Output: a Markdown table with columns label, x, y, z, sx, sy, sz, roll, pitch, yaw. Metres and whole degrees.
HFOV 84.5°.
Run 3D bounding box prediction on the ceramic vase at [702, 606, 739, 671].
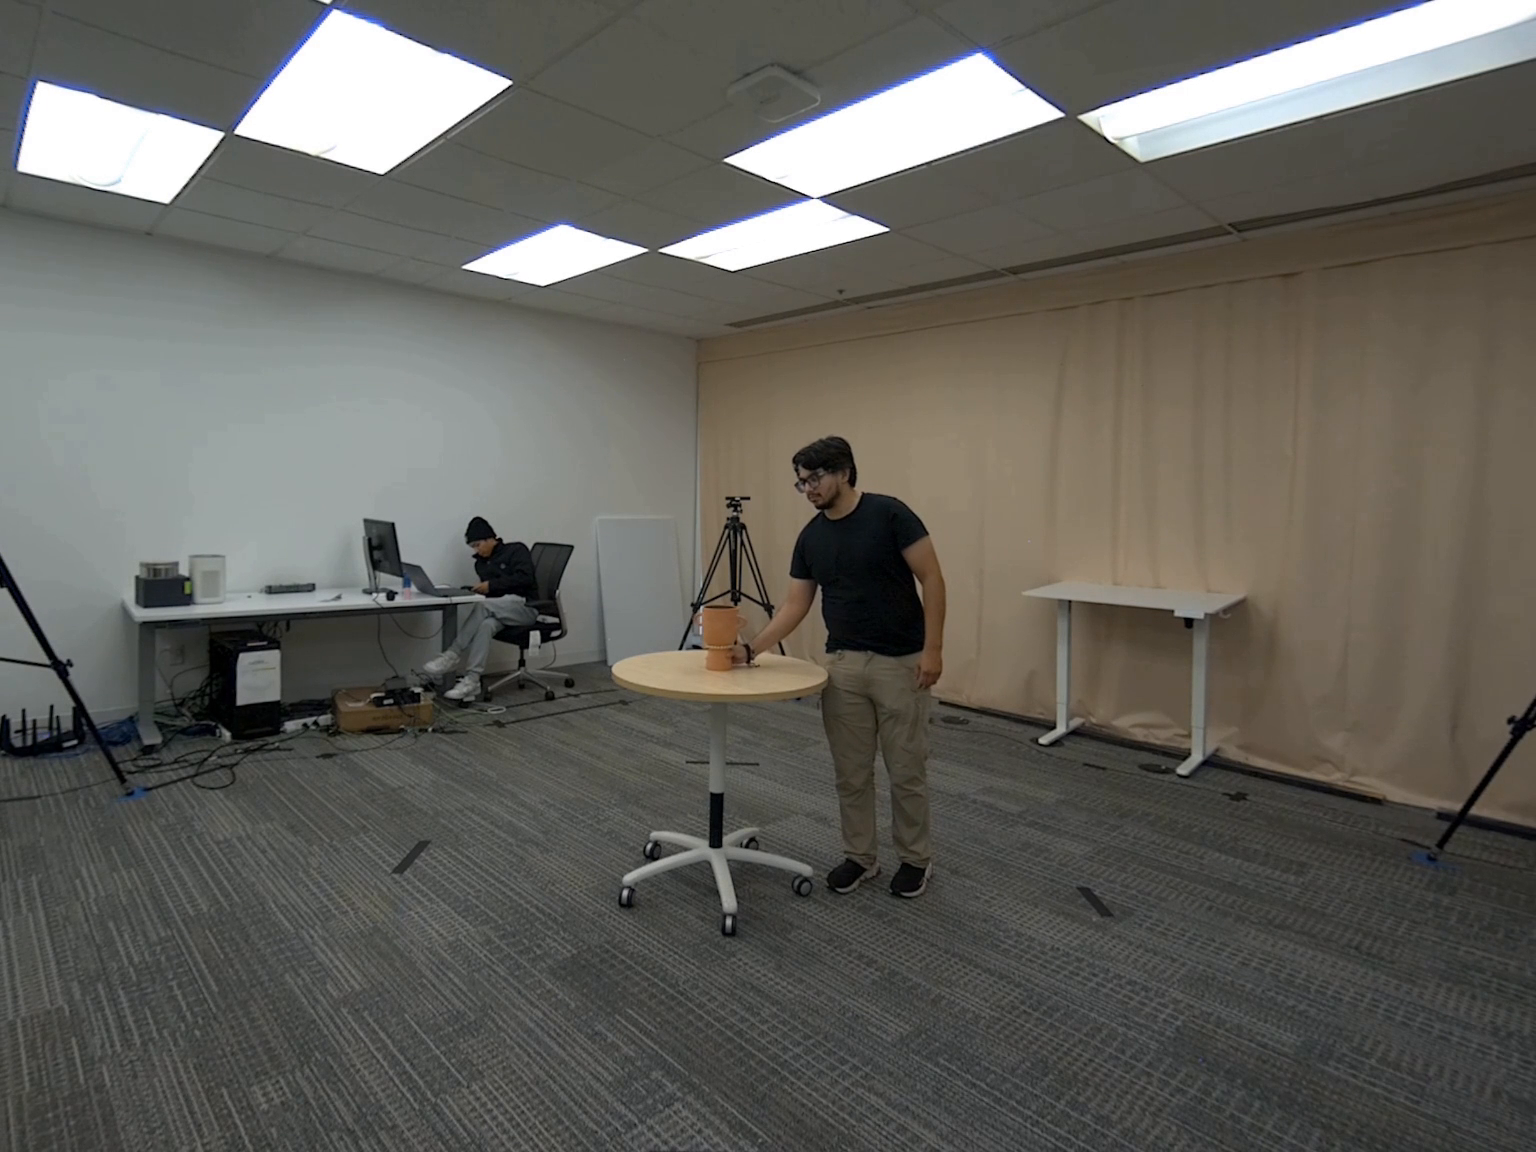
| label | x | y | z | sx | sy | sz | roll | pitch | yaw |
| --- | --- | --- | --- | --- | --- | --- | --- | --- | --- |
| ceramic vase | -0.177 | 0.218 | 2.996 | 0.132 | 0.219 | 0.163 | -3 | 6 | -35 |
